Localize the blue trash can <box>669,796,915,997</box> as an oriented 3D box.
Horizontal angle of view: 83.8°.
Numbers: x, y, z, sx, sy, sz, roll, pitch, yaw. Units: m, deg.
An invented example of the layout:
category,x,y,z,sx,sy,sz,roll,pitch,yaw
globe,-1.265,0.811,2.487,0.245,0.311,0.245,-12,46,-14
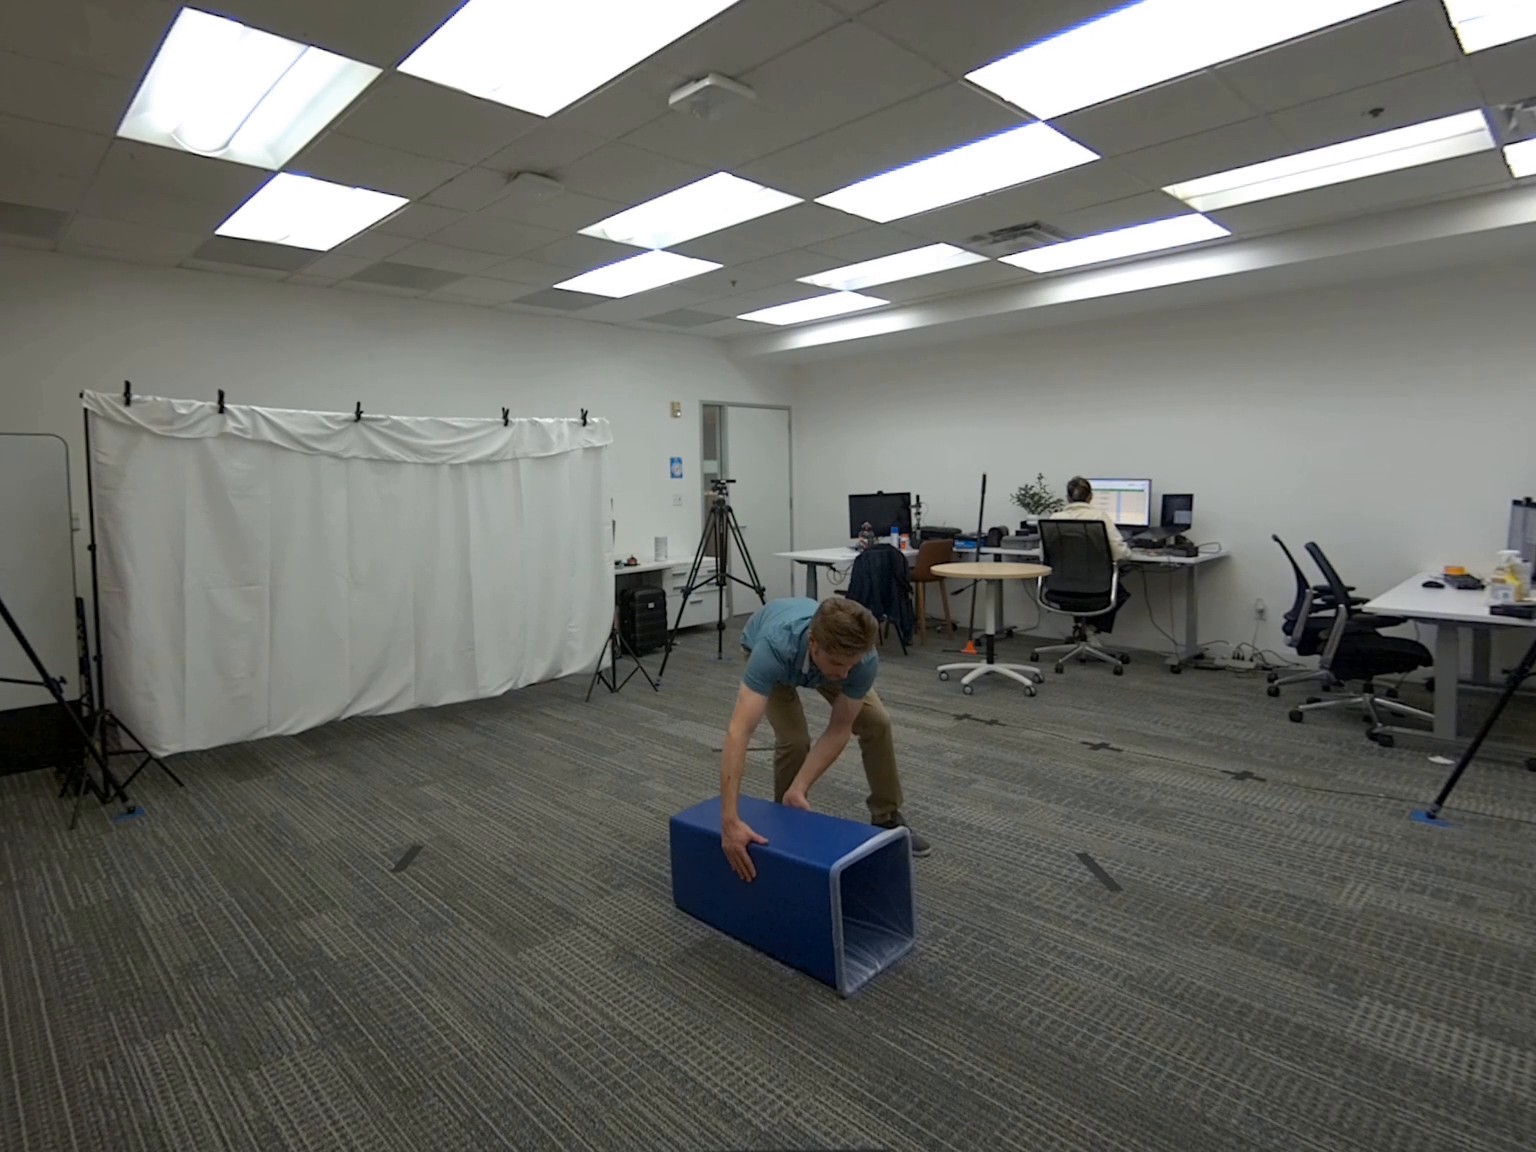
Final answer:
category,x,y,z,sx,sy,sz,roll,pitch,yaw
blue trash can,0.046,0.934,2.651,0.734,0.377,0.364,0,6,43
